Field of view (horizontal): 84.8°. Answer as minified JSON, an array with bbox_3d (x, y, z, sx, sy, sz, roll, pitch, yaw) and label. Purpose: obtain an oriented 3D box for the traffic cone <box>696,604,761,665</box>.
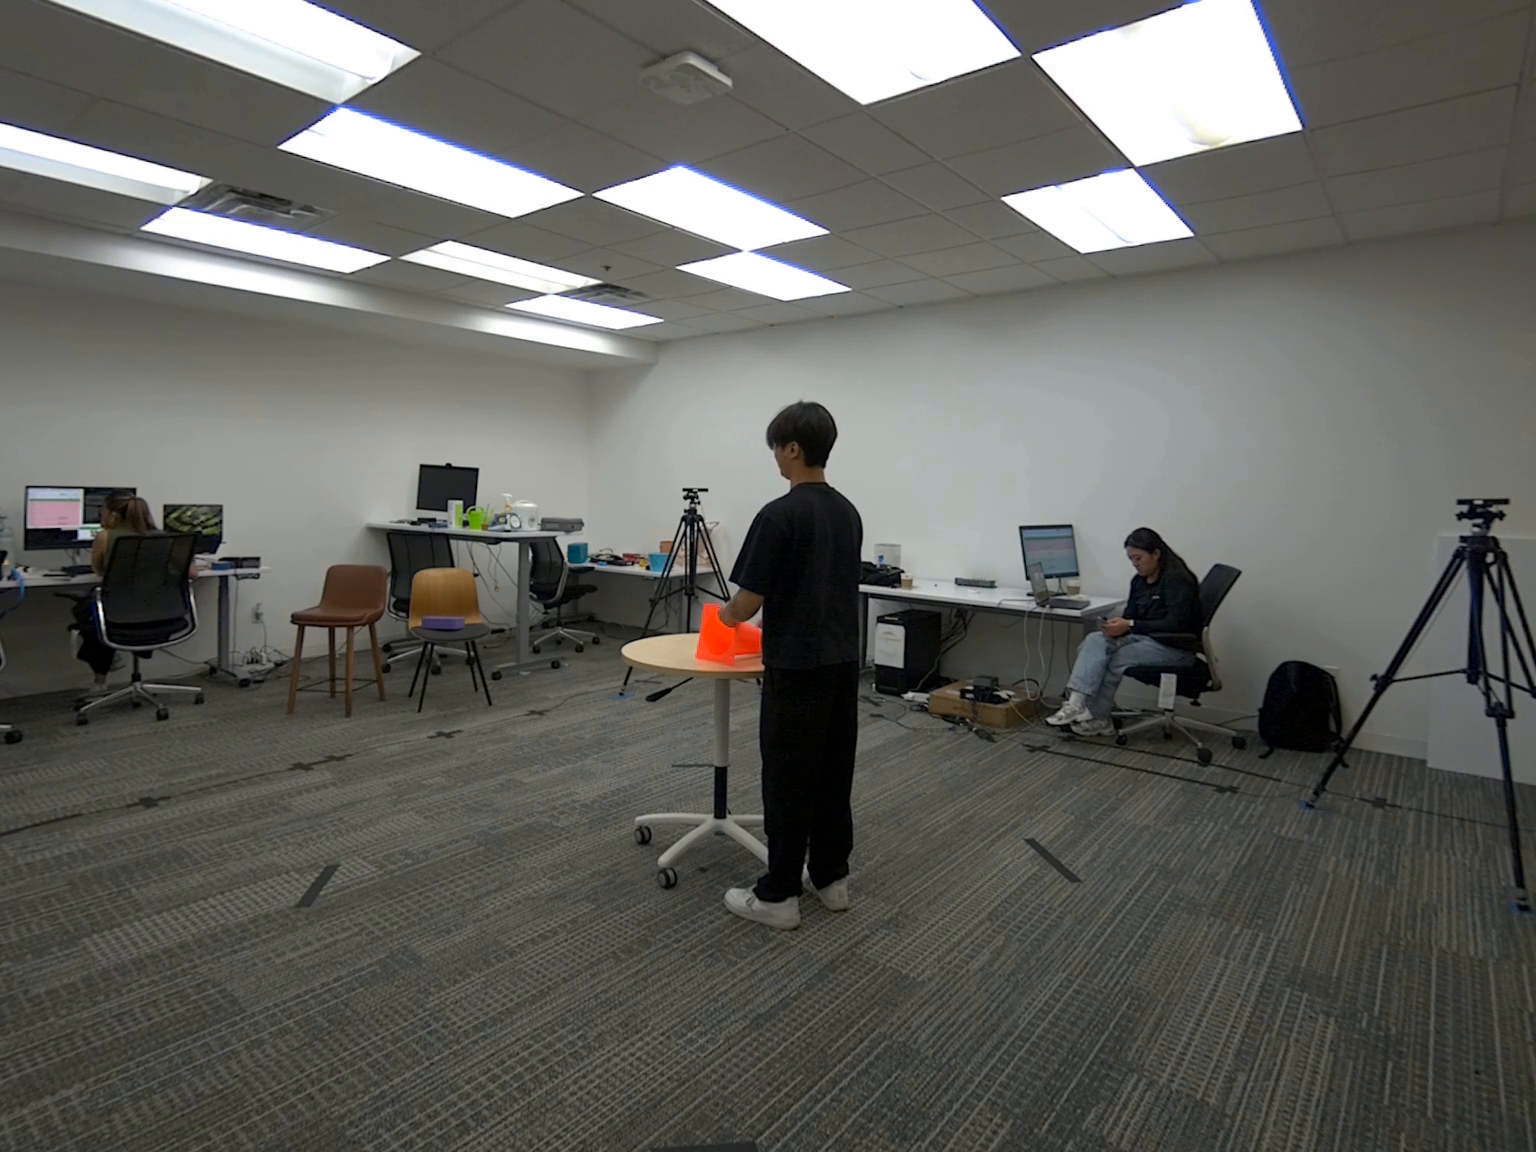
[{"bbox_3d":[-0.053,0.237,3.103,0.369,0.205,0.211,13,-9,-42],"label":"traffic cone"}]
